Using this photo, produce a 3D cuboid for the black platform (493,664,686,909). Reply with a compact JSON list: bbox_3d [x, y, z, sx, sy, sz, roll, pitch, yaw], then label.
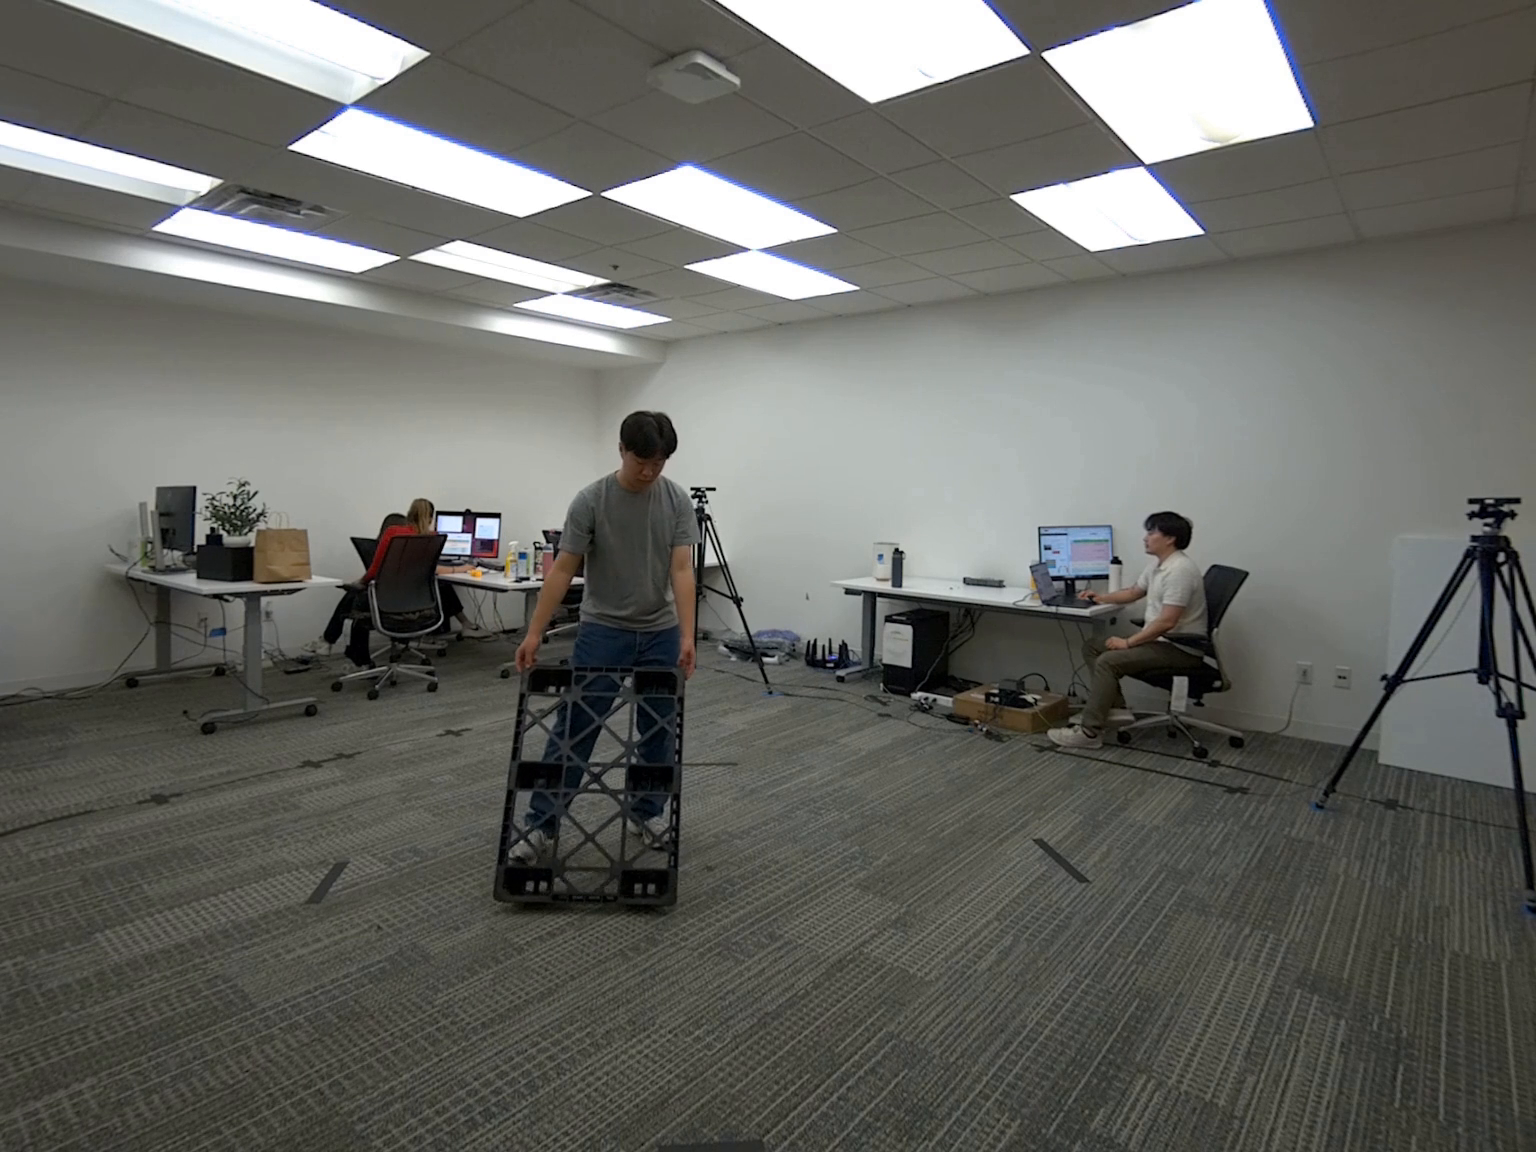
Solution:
[{"bbox_3d":[-0.614,0.719,2.985,0.605,0.823,0.140,0,-25,-1],"label":"black platform"}]
